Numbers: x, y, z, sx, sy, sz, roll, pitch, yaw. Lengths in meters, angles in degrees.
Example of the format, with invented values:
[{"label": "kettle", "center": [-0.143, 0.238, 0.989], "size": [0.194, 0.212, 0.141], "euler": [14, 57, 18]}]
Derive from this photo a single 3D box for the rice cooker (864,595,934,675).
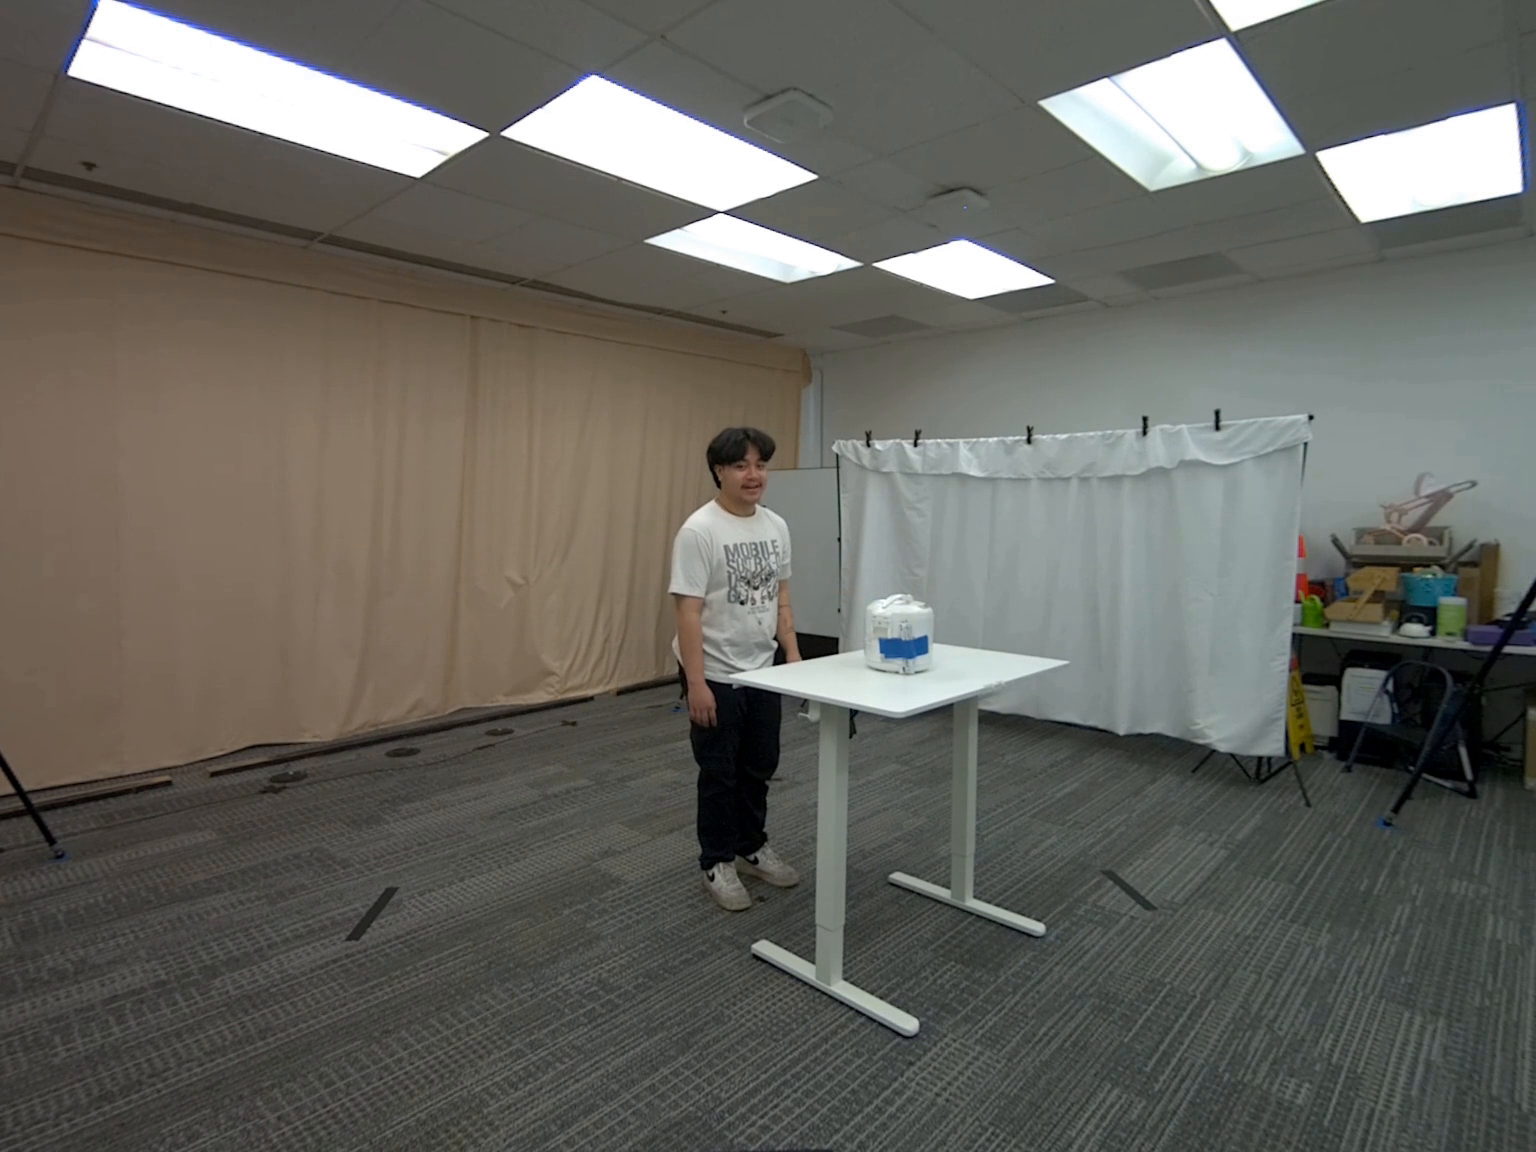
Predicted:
[{"label": "rice cooker", "center": [0.410, 0.174, 2.617], "size": [0.225, 0.232, 0.214], "euler": [5, 5, 42]}]
